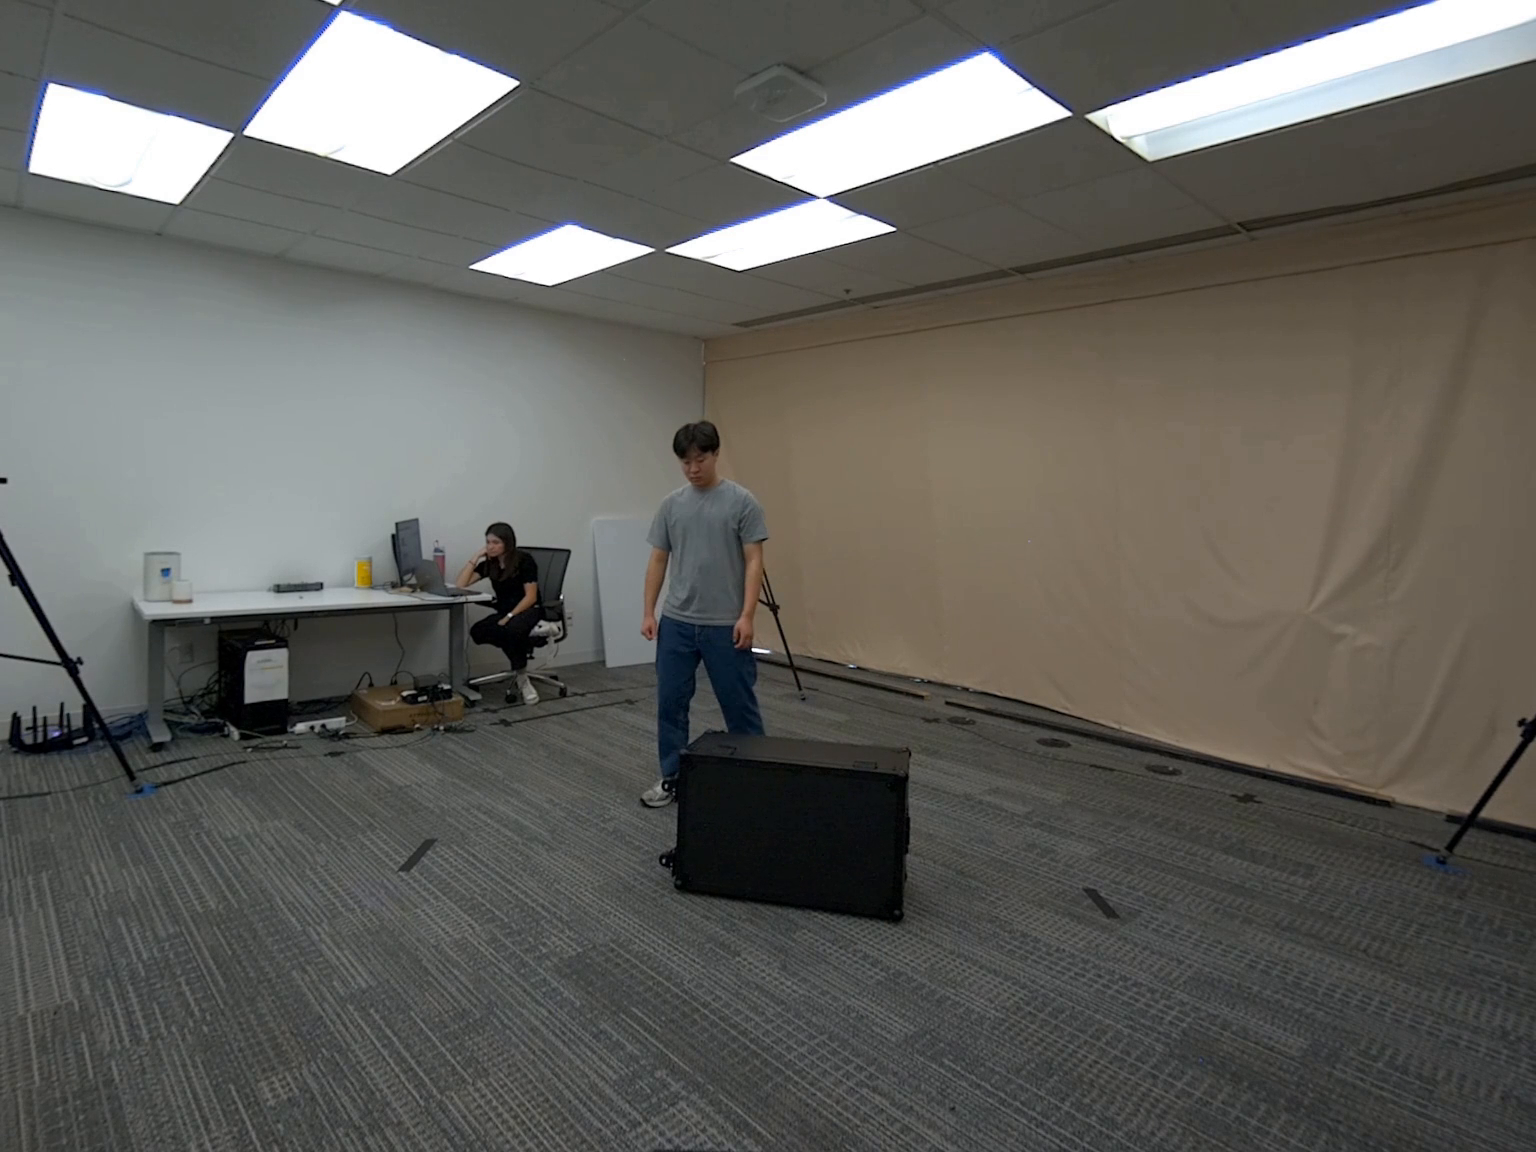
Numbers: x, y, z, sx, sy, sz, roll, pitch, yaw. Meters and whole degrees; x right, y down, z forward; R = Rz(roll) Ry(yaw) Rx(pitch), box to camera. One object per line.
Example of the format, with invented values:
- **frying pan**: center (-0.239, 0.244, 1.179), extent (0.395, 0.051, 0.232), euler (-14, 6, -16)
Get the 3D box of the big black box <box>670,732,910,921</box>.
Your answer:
- **big black box**: center (0.127, 0.868, 3.024), extent (0.872, 0.520, 0.392), euler (3, 3, 14)
